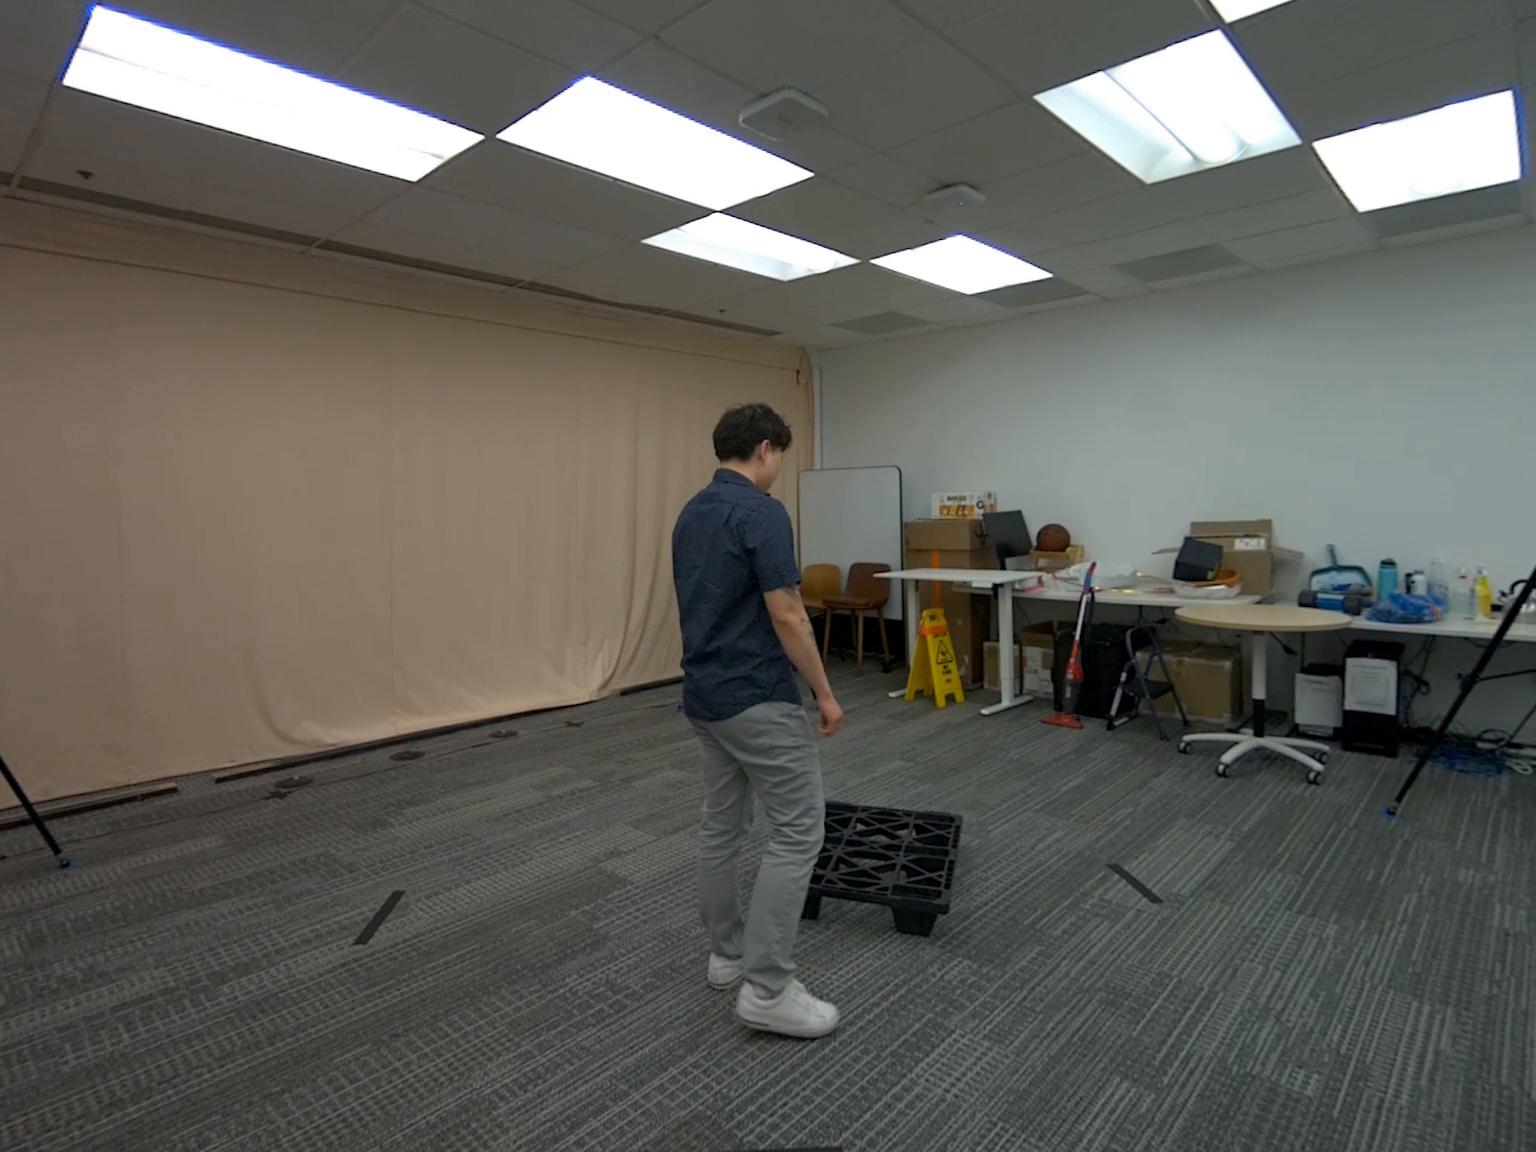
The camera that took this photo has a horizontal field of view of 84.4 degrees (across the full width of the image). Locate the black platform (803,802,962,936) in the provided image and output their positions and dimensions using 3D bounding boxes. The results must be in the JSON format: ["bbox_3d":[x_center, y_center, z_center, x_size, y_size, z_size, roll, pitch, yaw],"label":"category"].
[{"bbox_3d":[0.395,1.052,3.108,0.617,0.143,0.792,1,6,17],"label":"black platform"}]
